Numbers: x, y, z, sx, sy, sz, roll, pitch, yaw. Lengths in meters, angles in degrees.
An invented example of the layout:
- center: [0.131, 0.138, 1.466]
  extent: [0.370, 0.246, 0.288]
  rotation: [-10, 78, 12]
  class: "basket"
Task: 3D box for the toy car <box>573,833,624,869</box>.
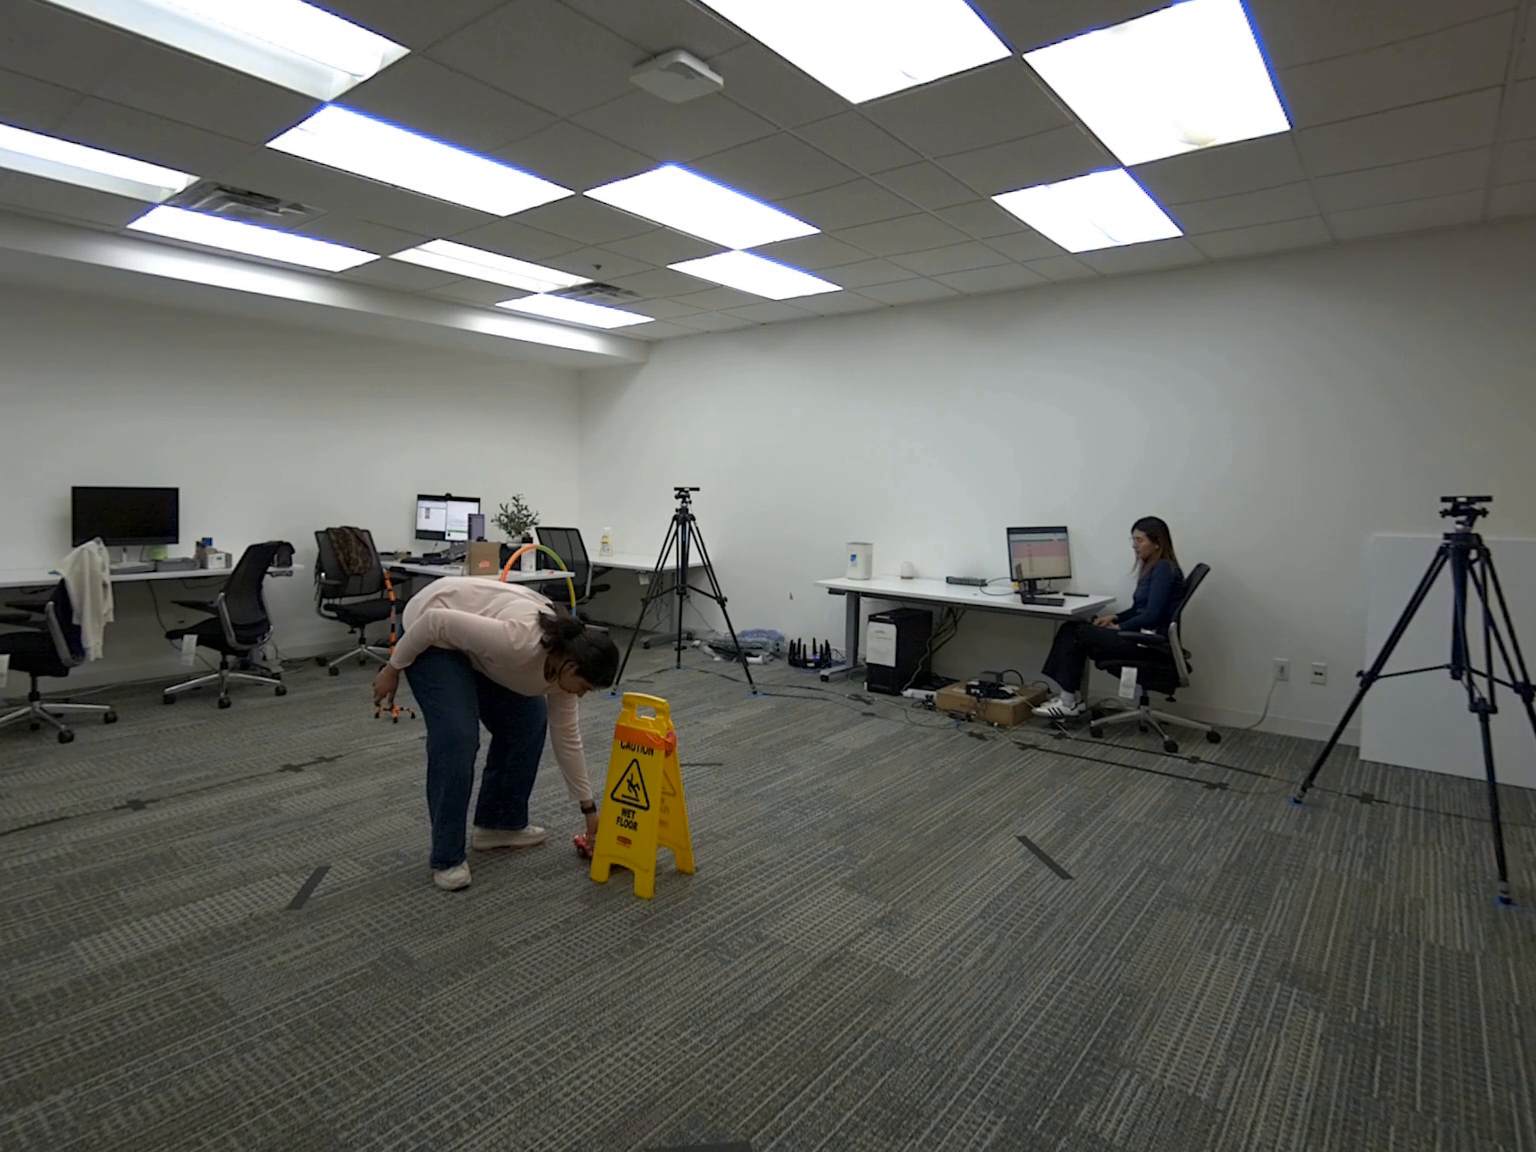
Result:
- center: [-0.643, 1.022, 3.181]
  extent: [0.265, 0.082, 0.126]
  rotation: [23, 18, 38]
  class: "toy car"
